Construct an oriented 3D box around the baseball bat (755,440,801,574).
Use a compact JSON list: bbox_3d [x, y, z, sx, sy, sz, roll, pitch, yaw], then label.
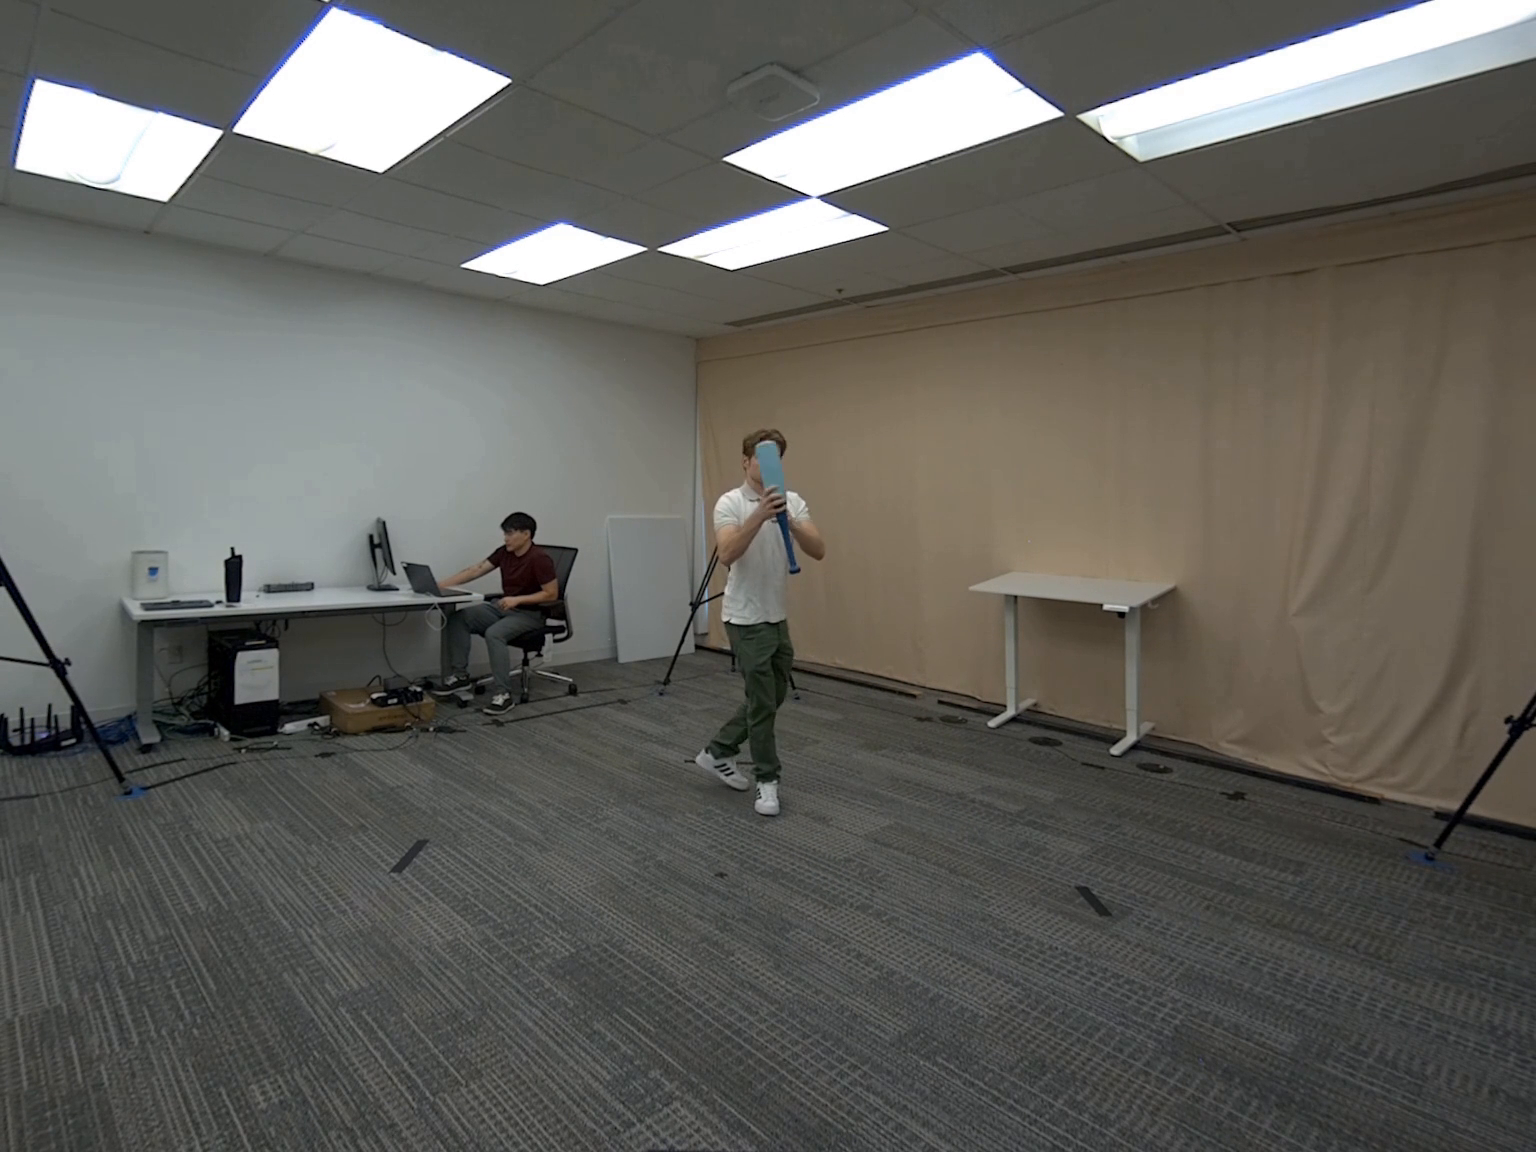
[{"bbox_3d":[0.037,-0.268,3.403,0.089,0.545,0.089,-12,-5,-2],"label":"baseball bat"}]
